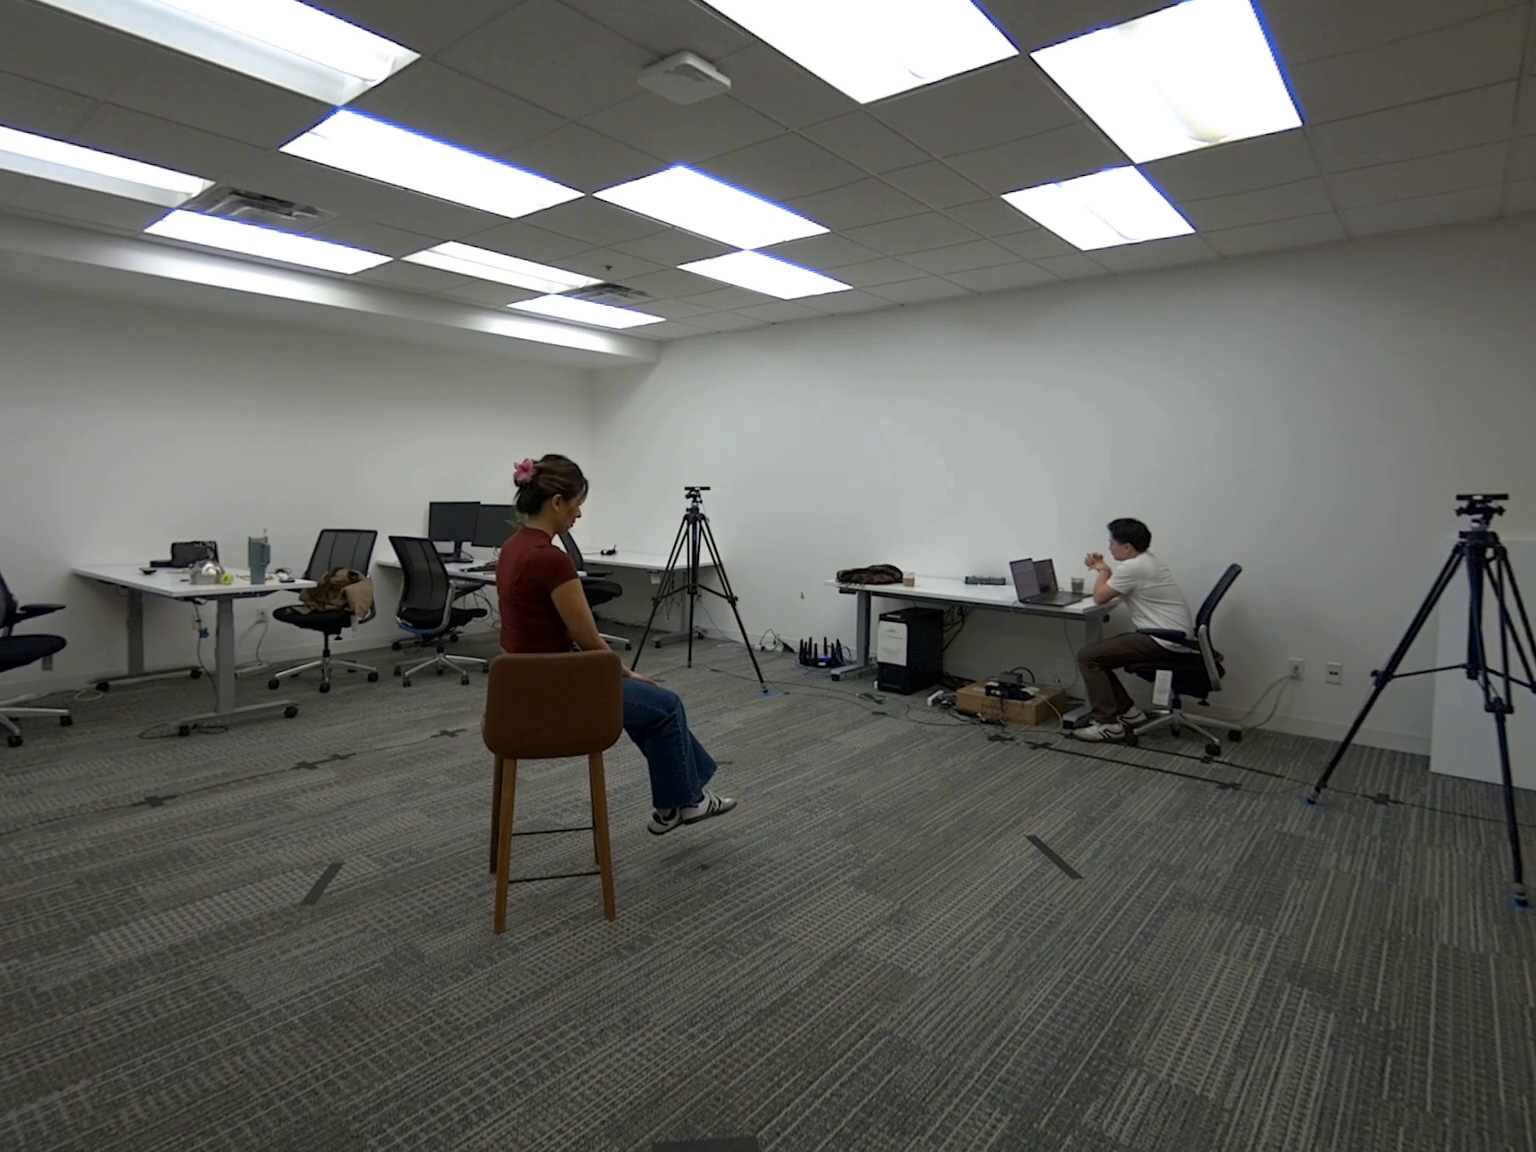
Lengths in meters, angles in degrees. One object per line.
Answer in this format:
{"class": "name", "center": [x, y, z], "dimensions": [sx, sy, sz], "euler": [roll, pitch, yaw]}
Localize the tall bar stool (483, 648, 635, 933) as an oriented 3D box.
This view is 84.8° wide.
{"class": "tall bar stool", "center": [-0.746, 0.652, 2.859], "dimensions": [0.449, 0.886, 0.478], "euler": [-1, 5, -18]}
